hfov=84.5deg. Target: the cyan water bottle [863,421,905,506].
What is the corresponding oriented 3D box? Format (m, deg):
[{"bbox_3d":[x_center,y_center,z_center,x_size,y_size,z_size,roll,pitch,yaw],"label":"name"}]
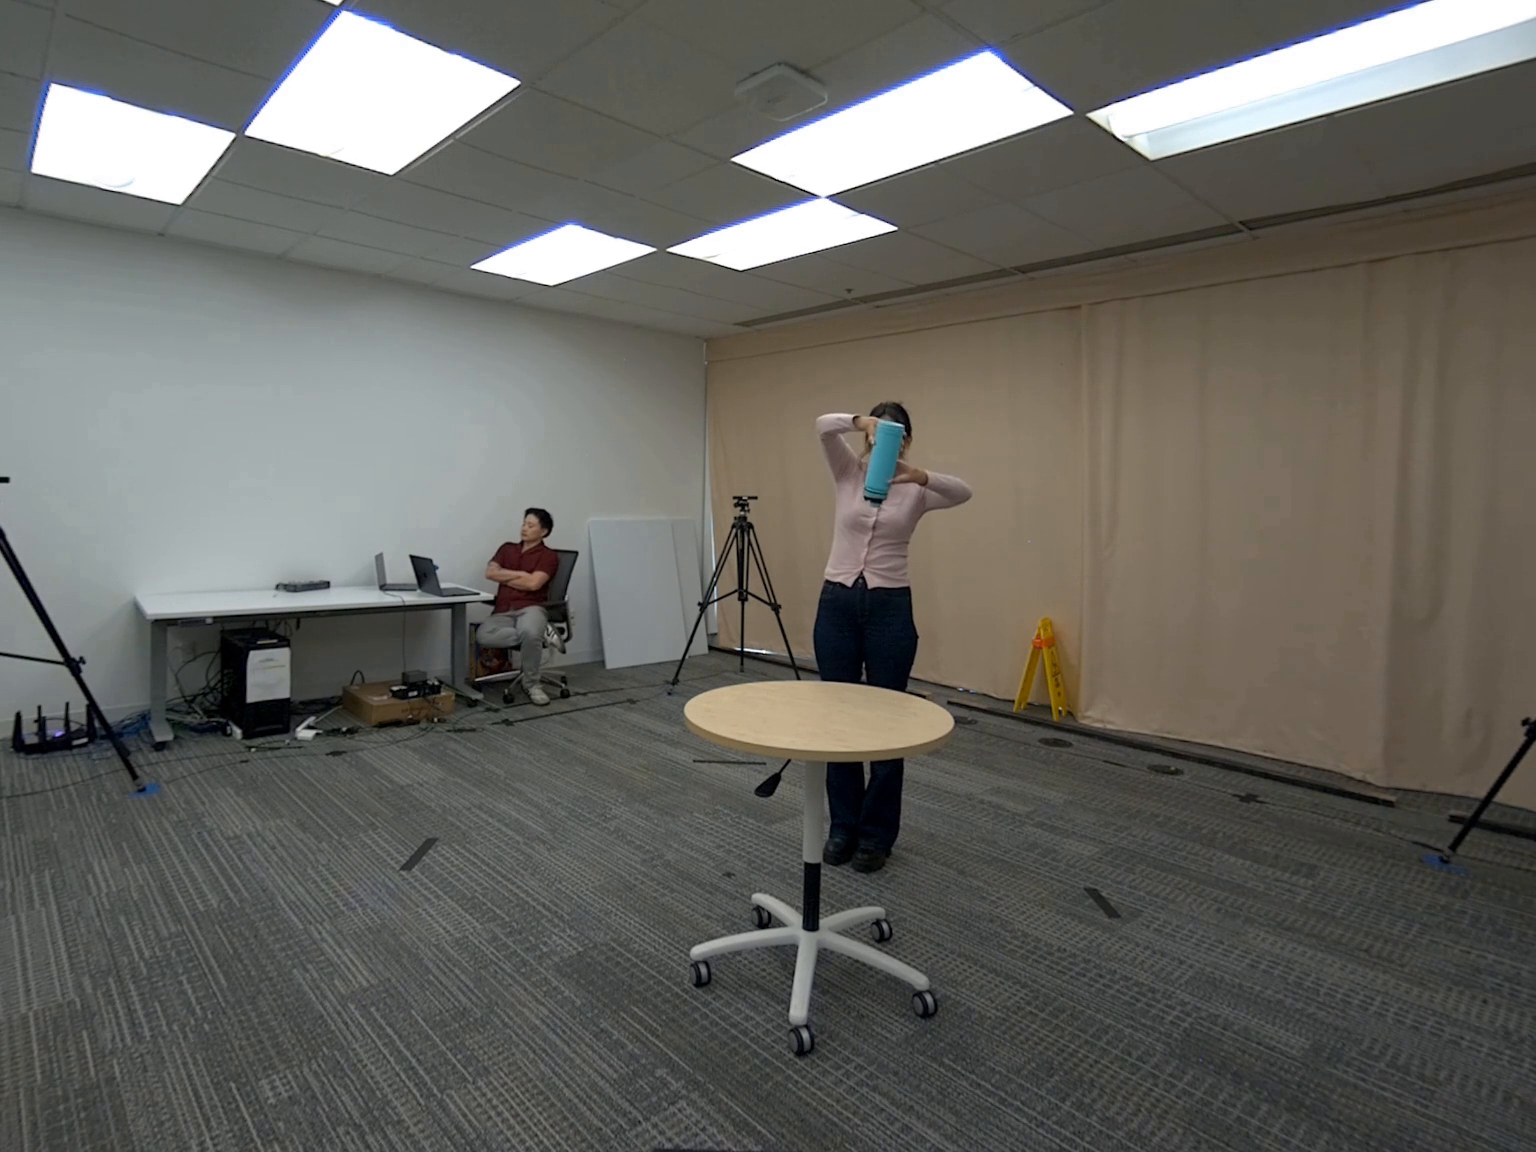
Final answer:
[{"bbox_3d":[0.366,-0.369,2.814,0.092,0.280,0.093,5,15,-3],"label":"cyan water bottle"}]
